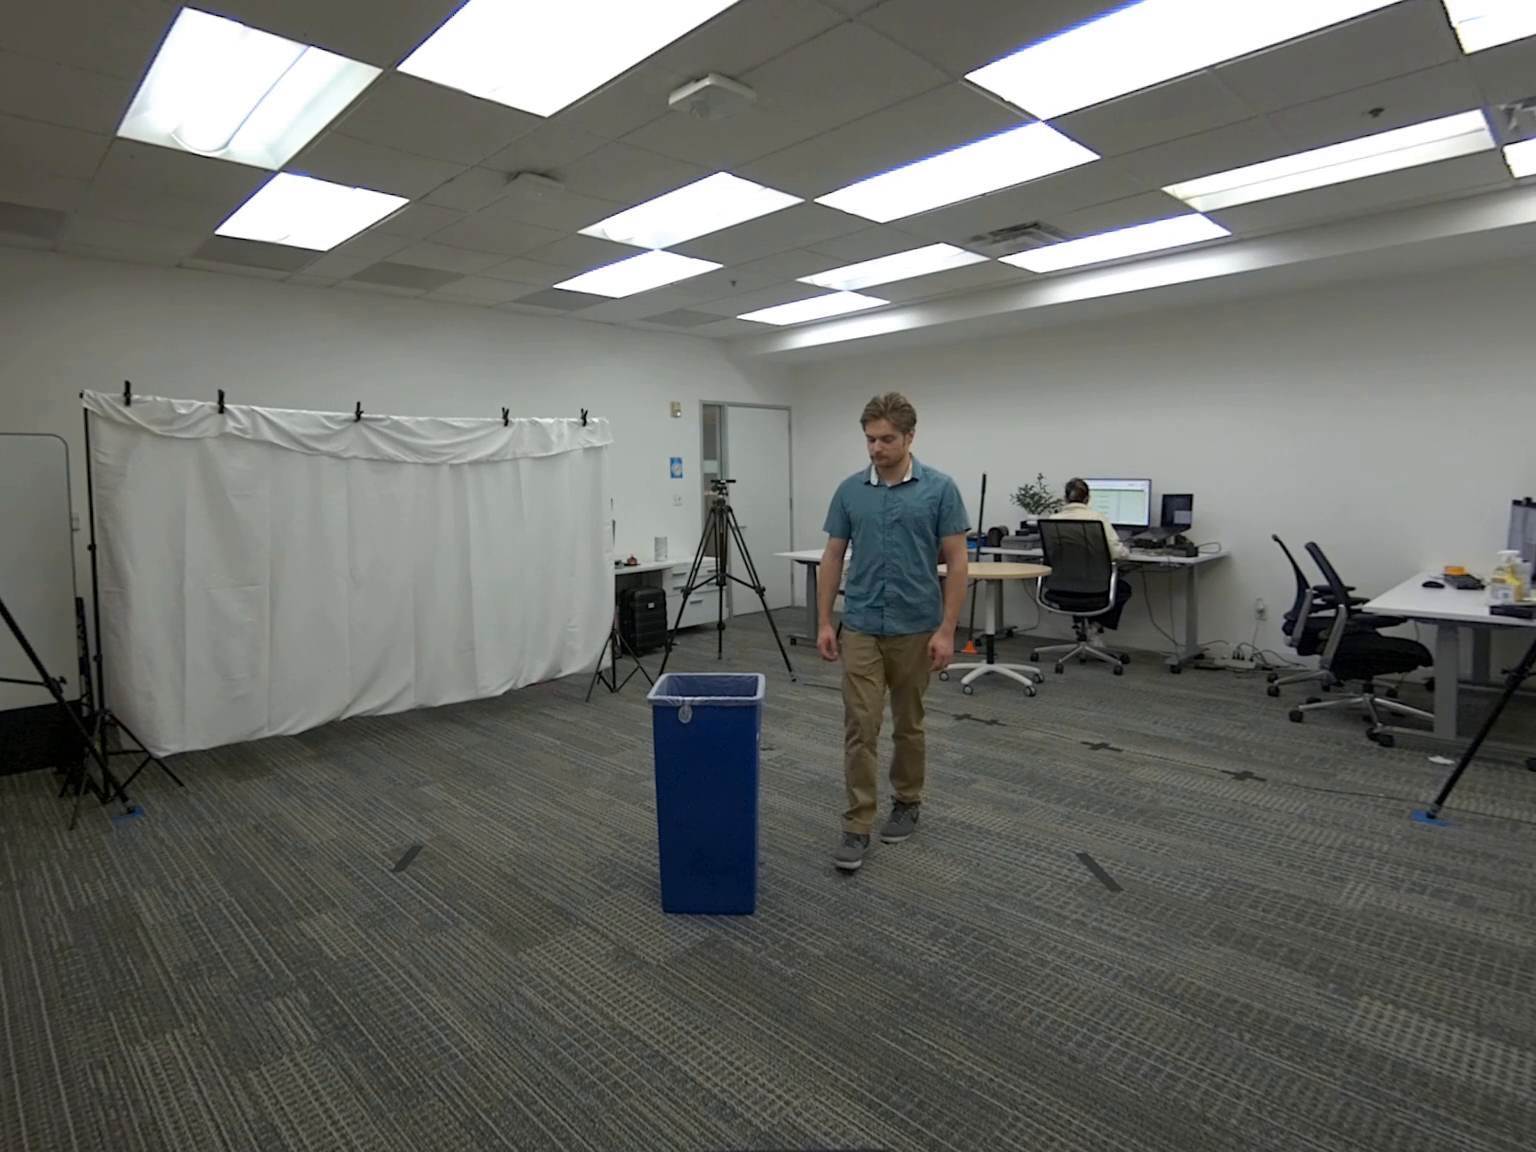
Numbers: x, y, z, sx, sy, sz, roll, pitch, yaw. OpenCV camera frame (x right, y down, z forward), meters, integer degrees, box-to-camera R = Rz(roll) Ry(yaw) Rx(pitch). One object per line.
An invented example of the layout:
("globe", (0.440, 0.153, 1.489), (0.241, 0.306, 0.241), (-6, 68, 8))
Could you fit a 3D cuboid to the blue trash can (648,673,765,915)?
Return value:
("blue trash can", (-0.183, 0.720, 2.878), (0.375, 0.711, 0.378), (-1, 3, 2))
